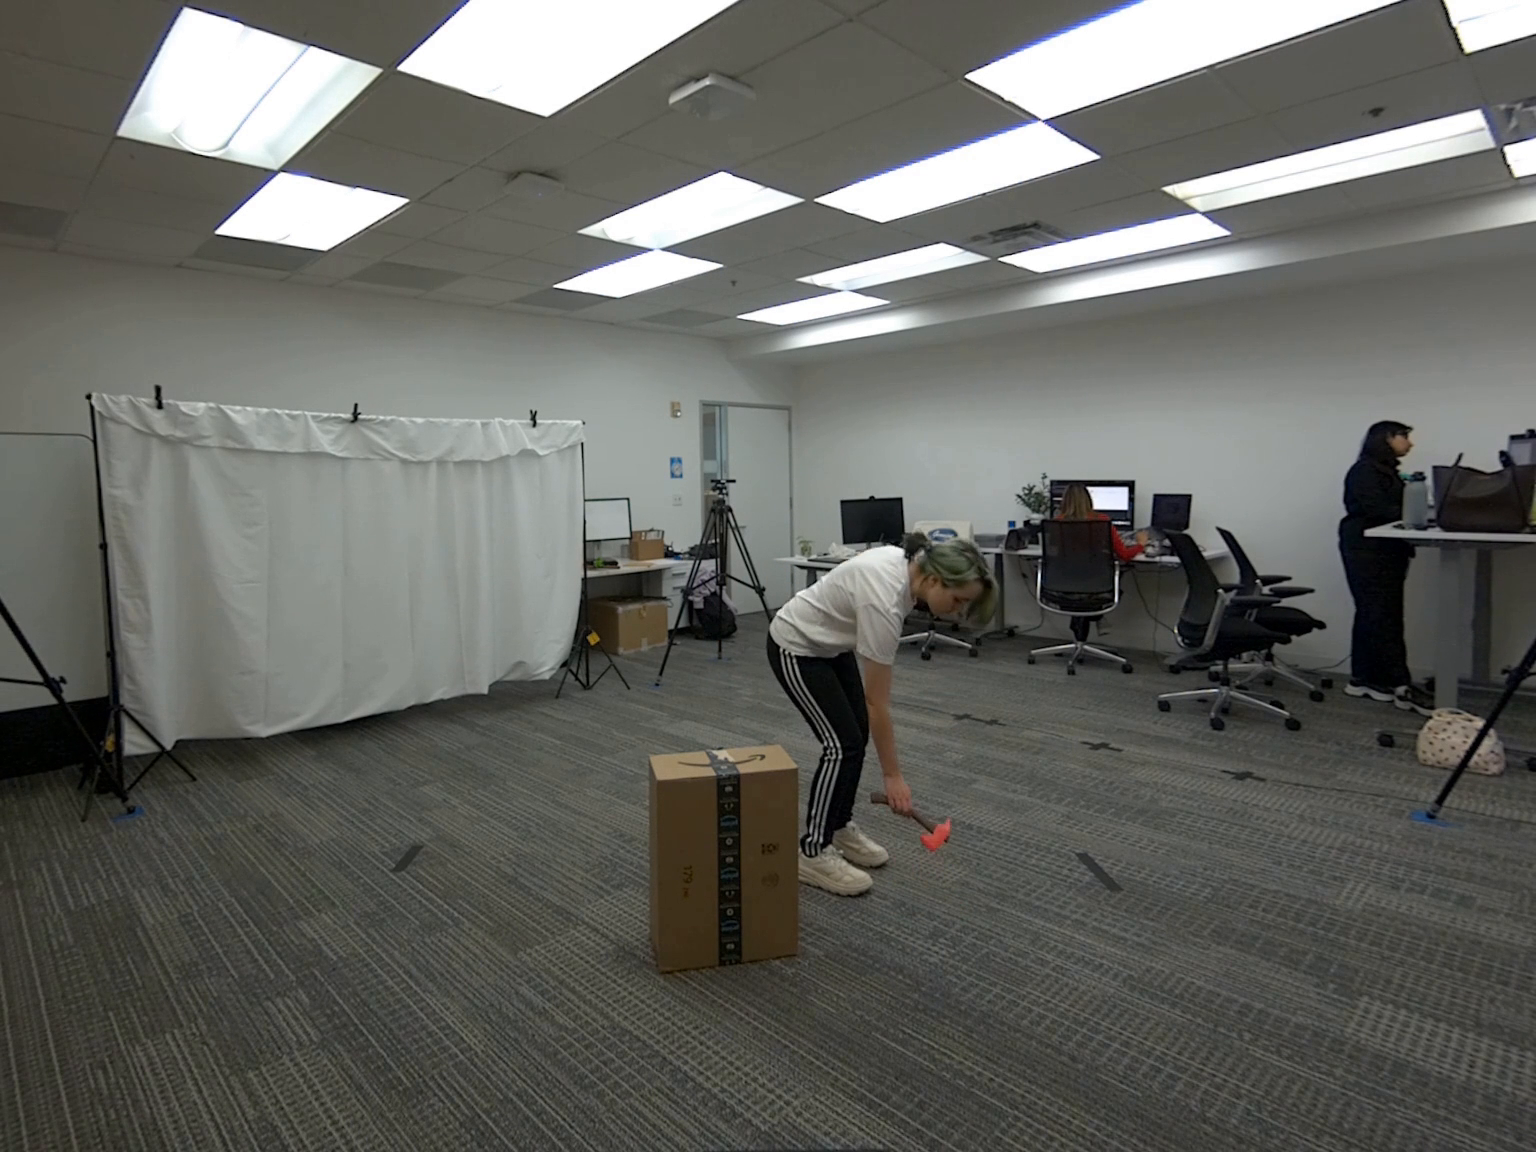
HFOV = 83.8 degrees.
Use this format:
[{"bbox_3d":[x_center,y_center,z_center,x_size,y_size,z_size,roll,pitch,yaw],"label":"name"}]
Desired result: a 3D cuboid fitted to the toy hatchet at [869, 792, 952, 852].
[{"bbox_3d":[0.452,0.803,2.741,0.273,0.029,0.133,13,48,8],"label":"toy hatchet"}]
